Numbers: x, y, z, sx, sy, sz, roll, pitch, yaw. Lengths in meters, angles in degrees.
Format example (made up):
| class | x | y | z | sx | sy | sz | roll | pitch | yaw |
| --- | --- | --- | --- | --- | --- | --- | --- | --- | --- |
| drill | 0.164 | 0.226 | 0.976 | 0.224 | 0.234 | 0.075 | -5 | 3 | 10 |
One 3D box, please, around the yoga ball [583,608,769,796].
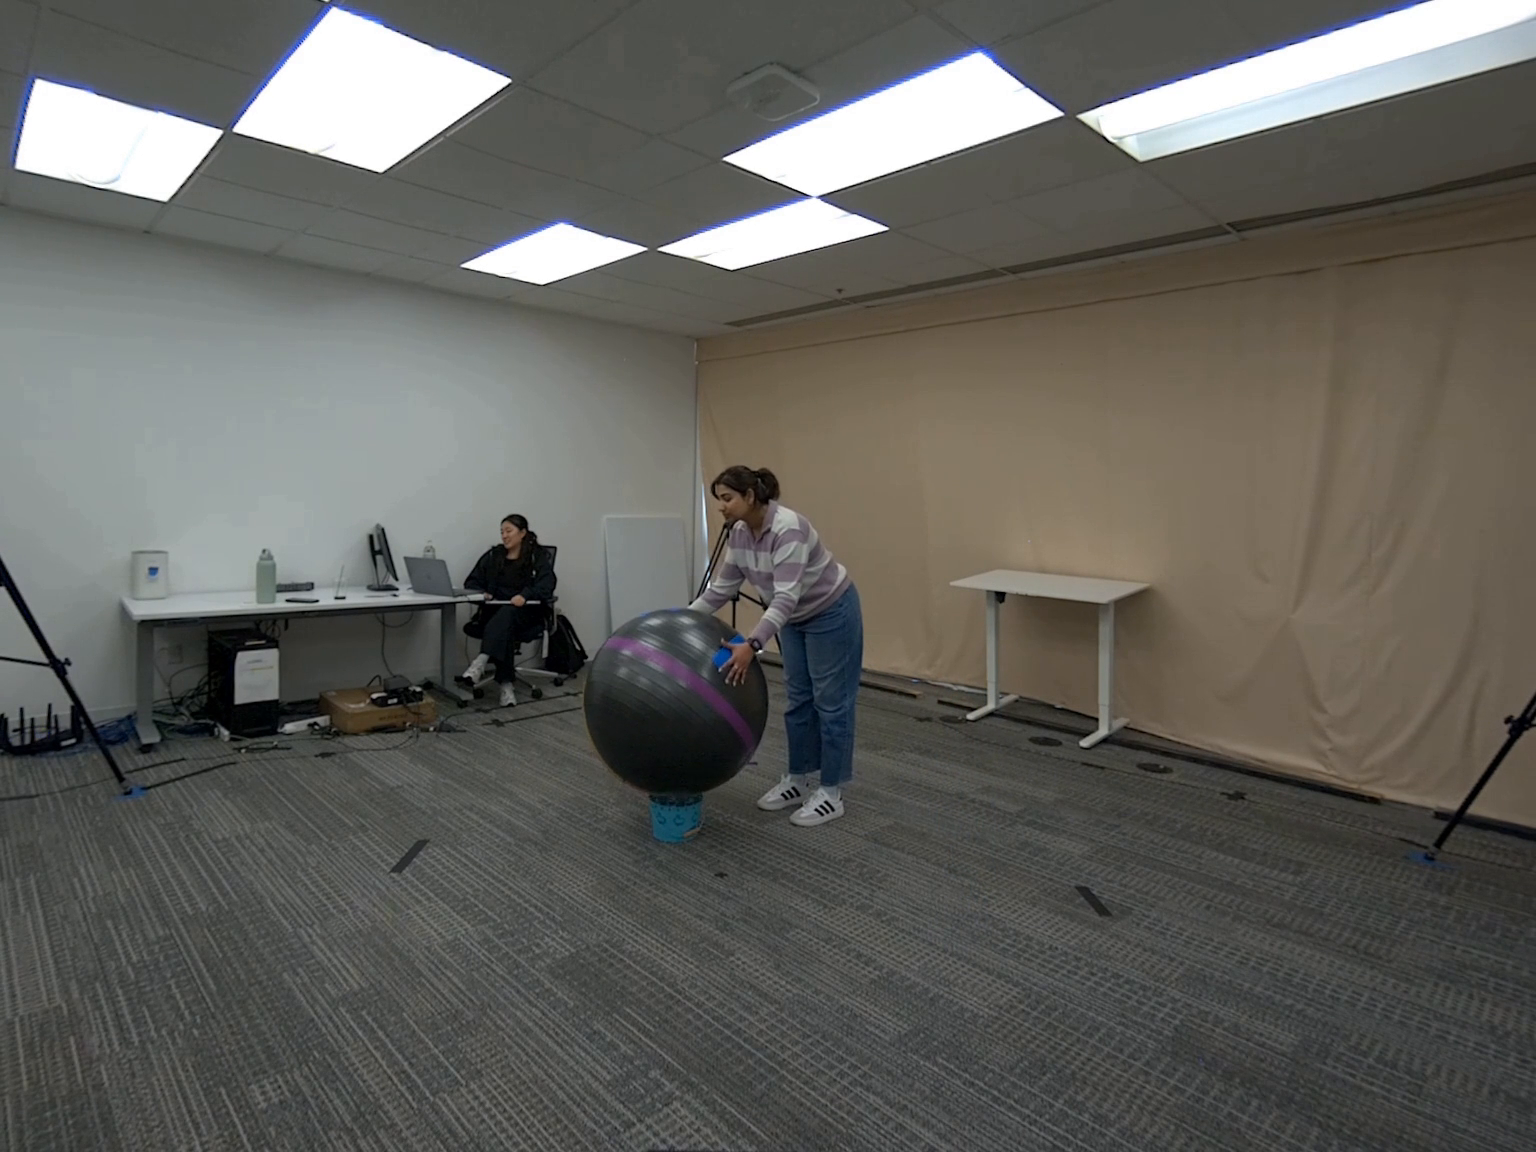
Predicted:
| class | x | y | z | sx | sy | sz | roll | pitch | yaw |
| --- | --- | --- | --- | --- | --- | --- | --- | --- | --- |
| yoga ball | -0.387 | 0.514 | 3.466 | 0.757 | 0.756 | 0.761 | 1 | 4 | -1 |
